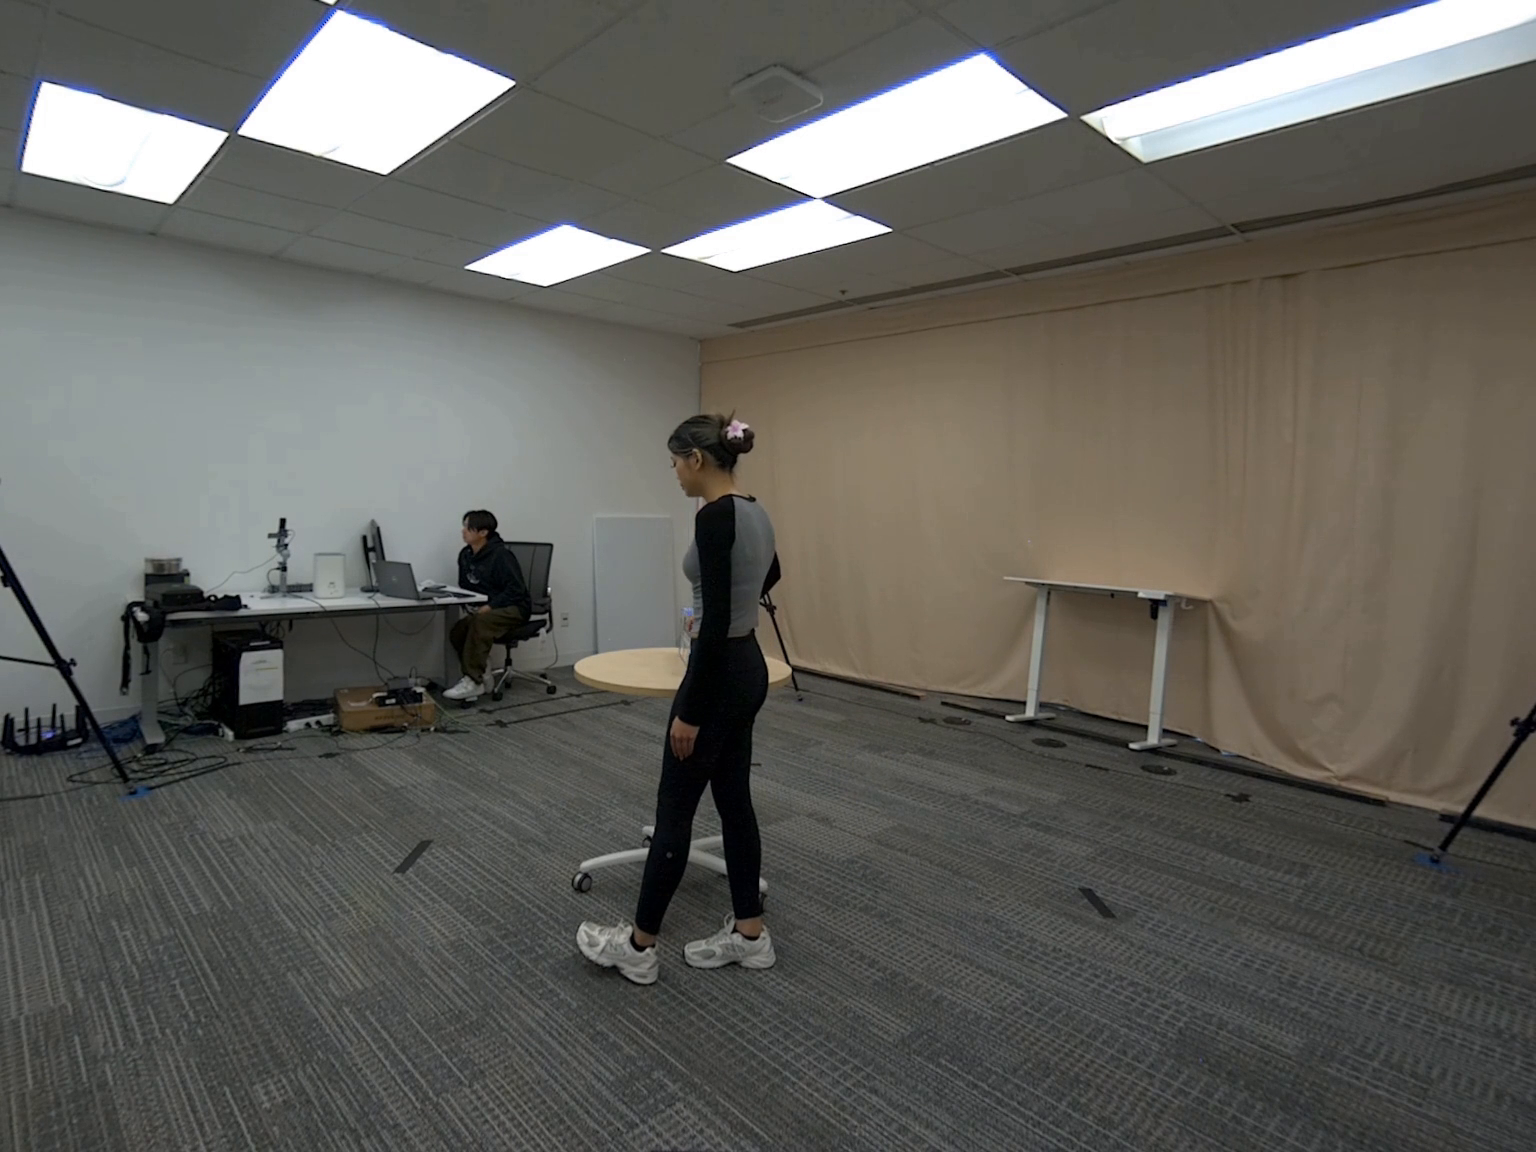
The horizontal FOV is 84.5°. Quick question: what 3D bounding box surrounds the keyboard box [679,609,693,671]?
[{"bbox_3d":[-0.267,0.236,3.029,0.058,0.175,0.441,4,5,-11],"label":"keyboard box"}]
